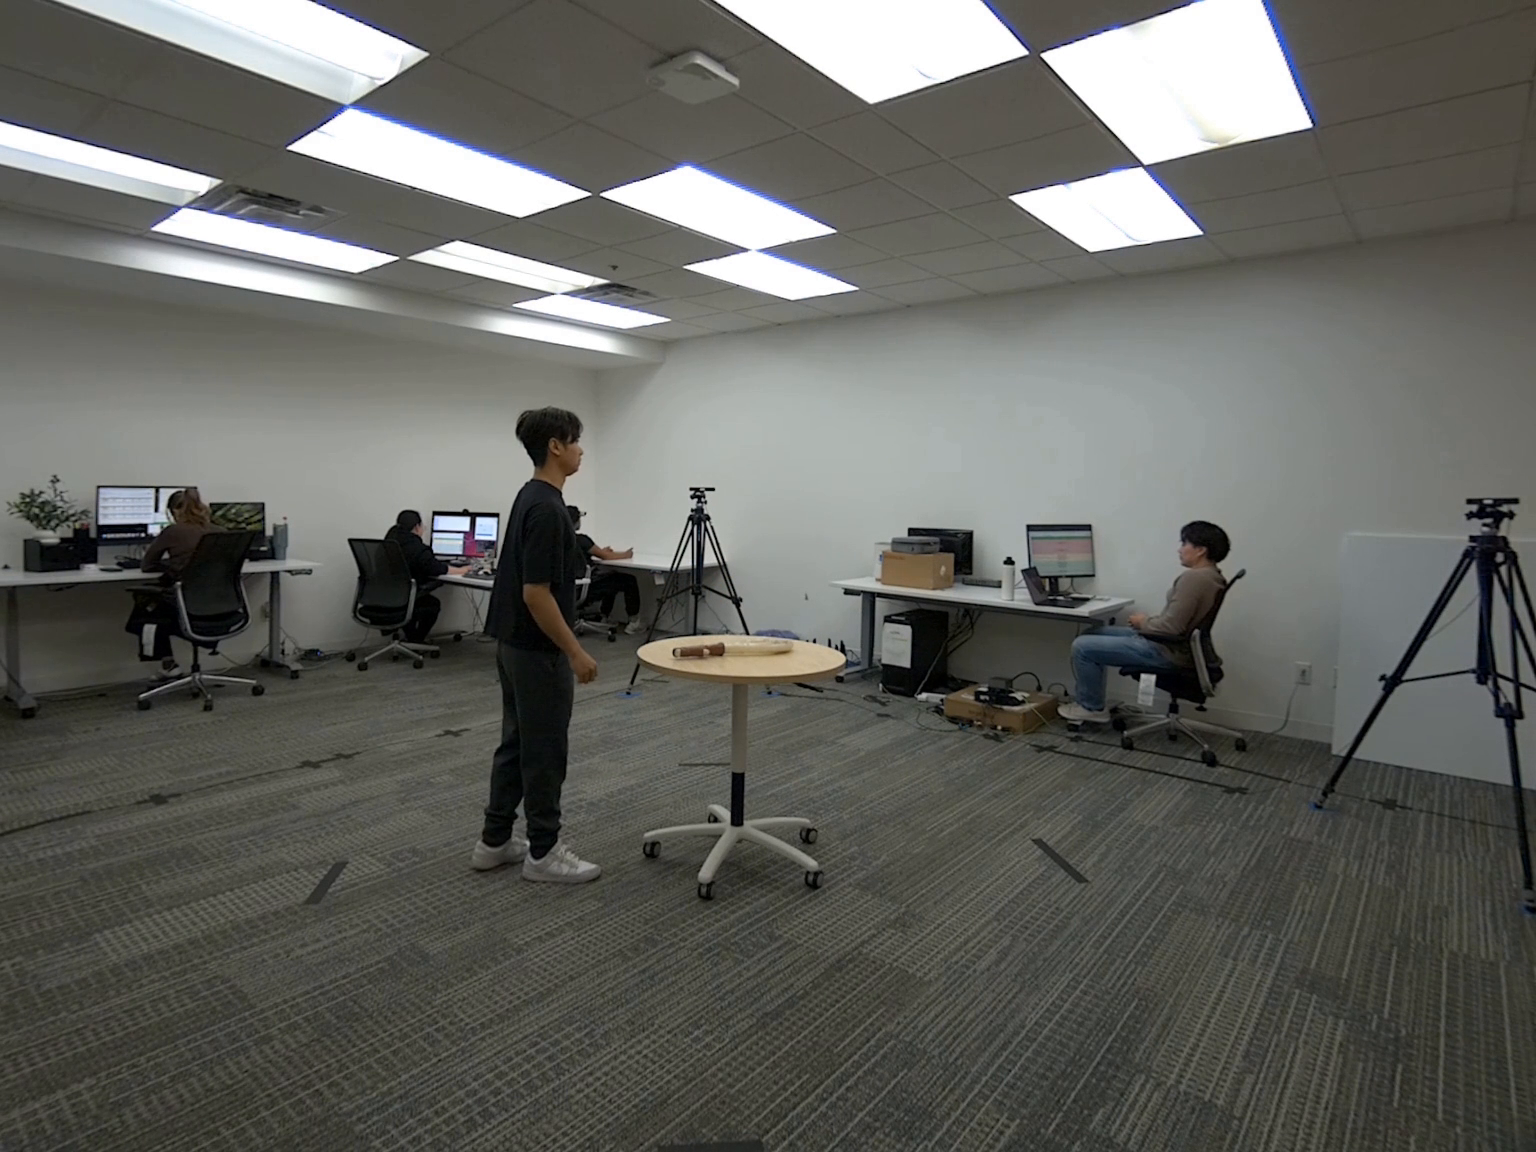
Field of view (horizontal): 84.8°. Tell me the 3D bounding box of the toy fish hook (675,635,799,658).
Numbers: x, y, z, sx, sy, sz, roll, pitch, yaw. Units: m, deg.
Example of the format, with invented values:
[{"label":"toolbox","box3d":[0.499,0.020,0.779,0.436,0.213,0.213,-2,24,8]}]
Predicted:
[{"label":"toy fish hook","box3d":[-0.161,0.271,3.154,0.493,0.048,0.230,0,2,-28]}]
